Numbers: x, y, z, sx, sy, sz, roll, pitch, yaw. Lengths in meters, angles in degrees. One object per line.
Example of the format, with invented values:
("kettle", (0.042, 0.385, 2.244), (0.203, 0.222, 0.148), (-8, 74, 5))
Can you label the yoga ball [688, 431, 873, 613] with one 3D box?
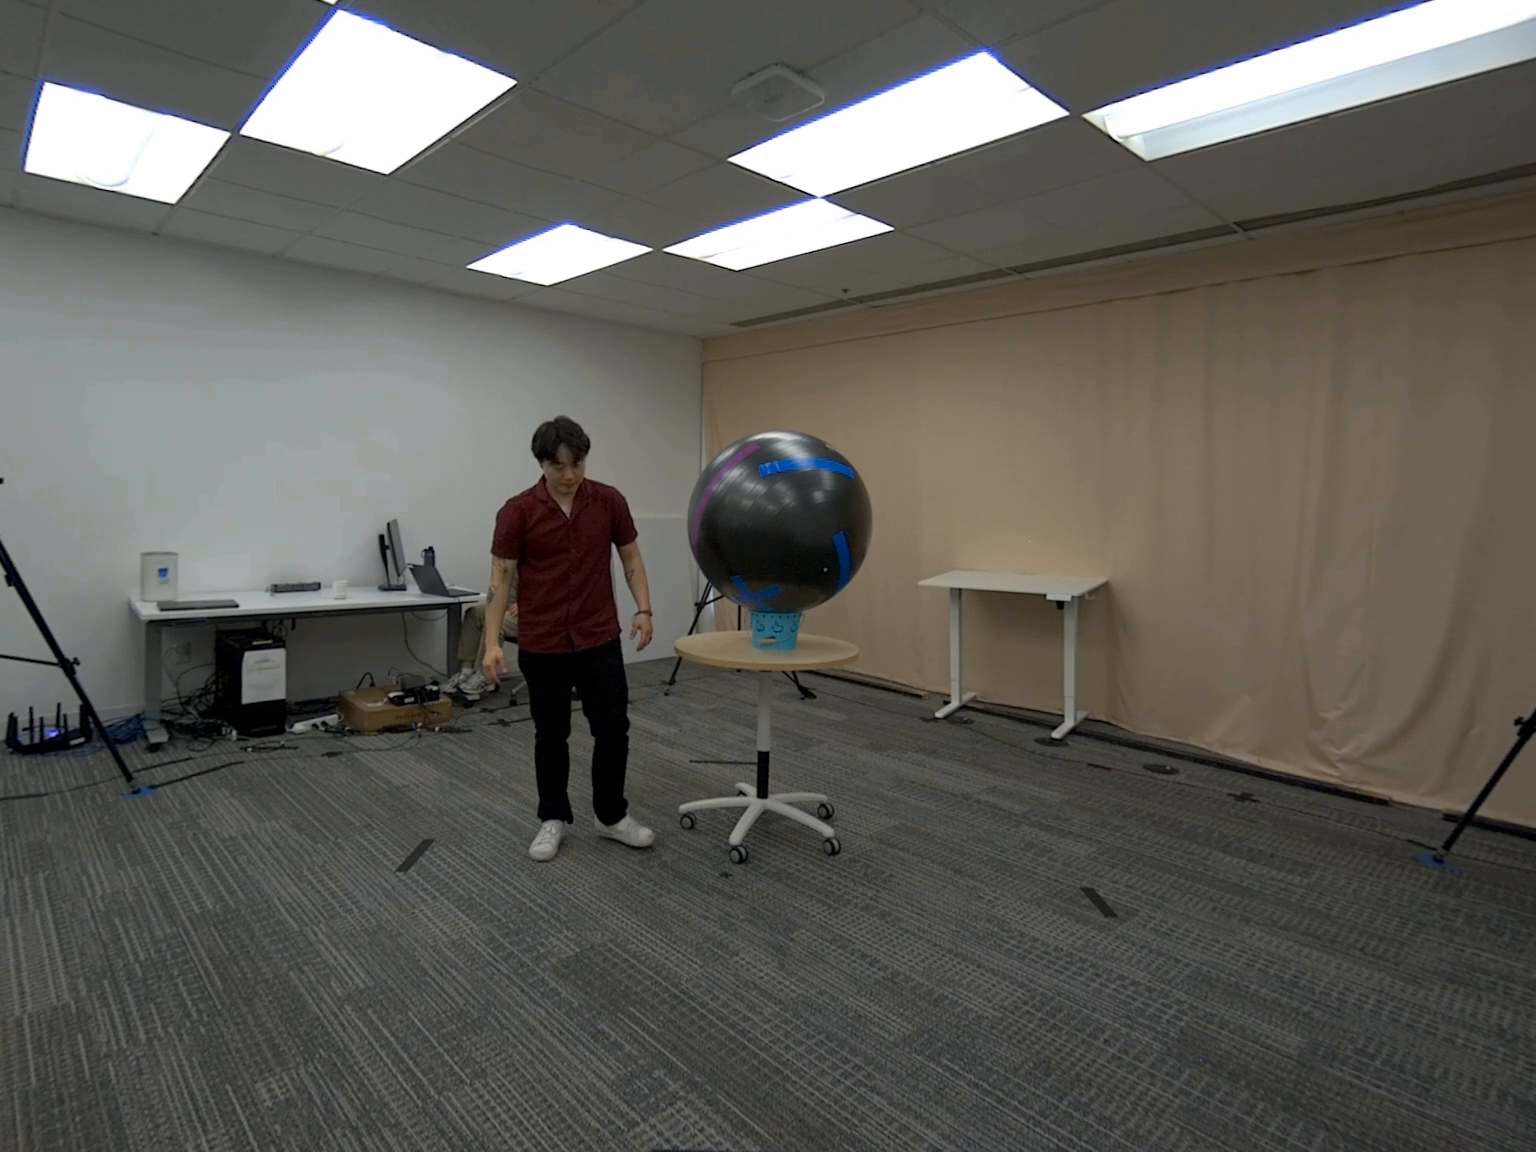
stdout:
("yoga ball", (0.041, -0.215, 3.477), (0.757, 0.756, 0.761), (1, 4, -1))
